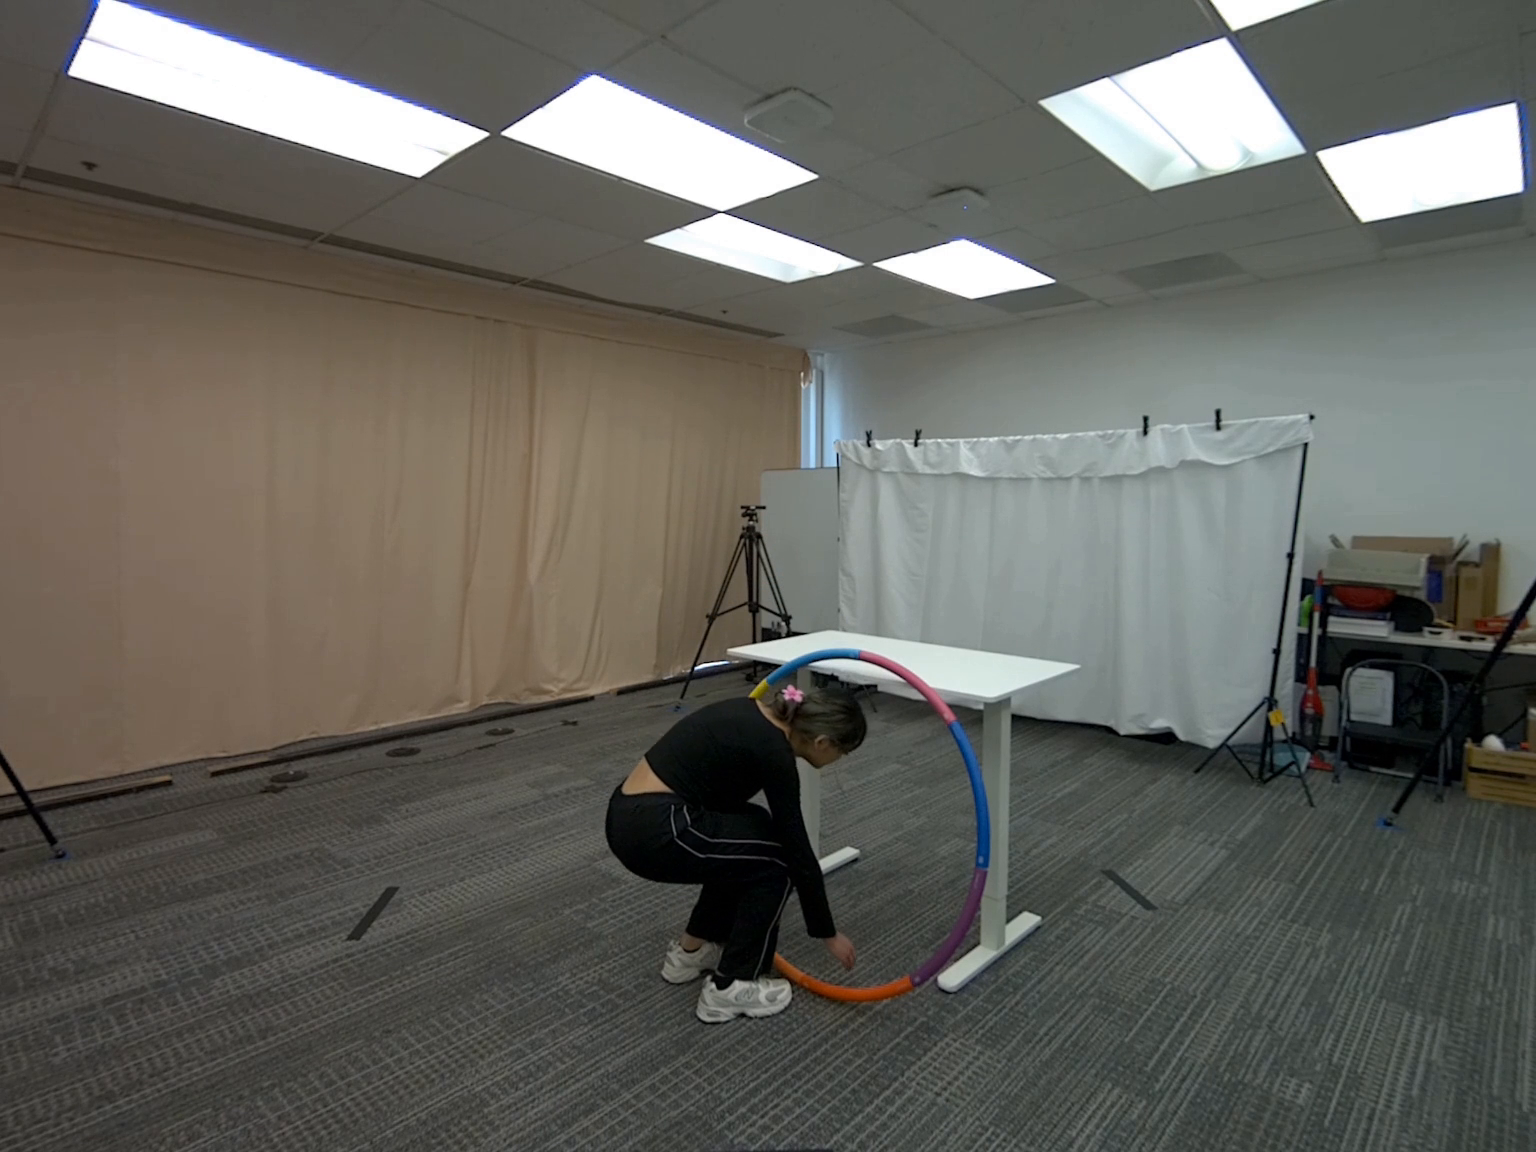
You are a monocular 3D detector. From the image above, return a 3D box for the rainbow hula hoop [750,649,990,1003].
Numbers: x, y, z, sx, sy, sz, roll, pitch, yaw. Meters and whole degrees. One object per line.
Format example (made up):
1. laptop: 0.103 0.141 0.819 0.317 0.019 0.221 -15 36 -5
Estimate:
1. rainbow hula hoop: 0.195 0.712 2.494 1.011 0.982 0.034 4 -10 43
